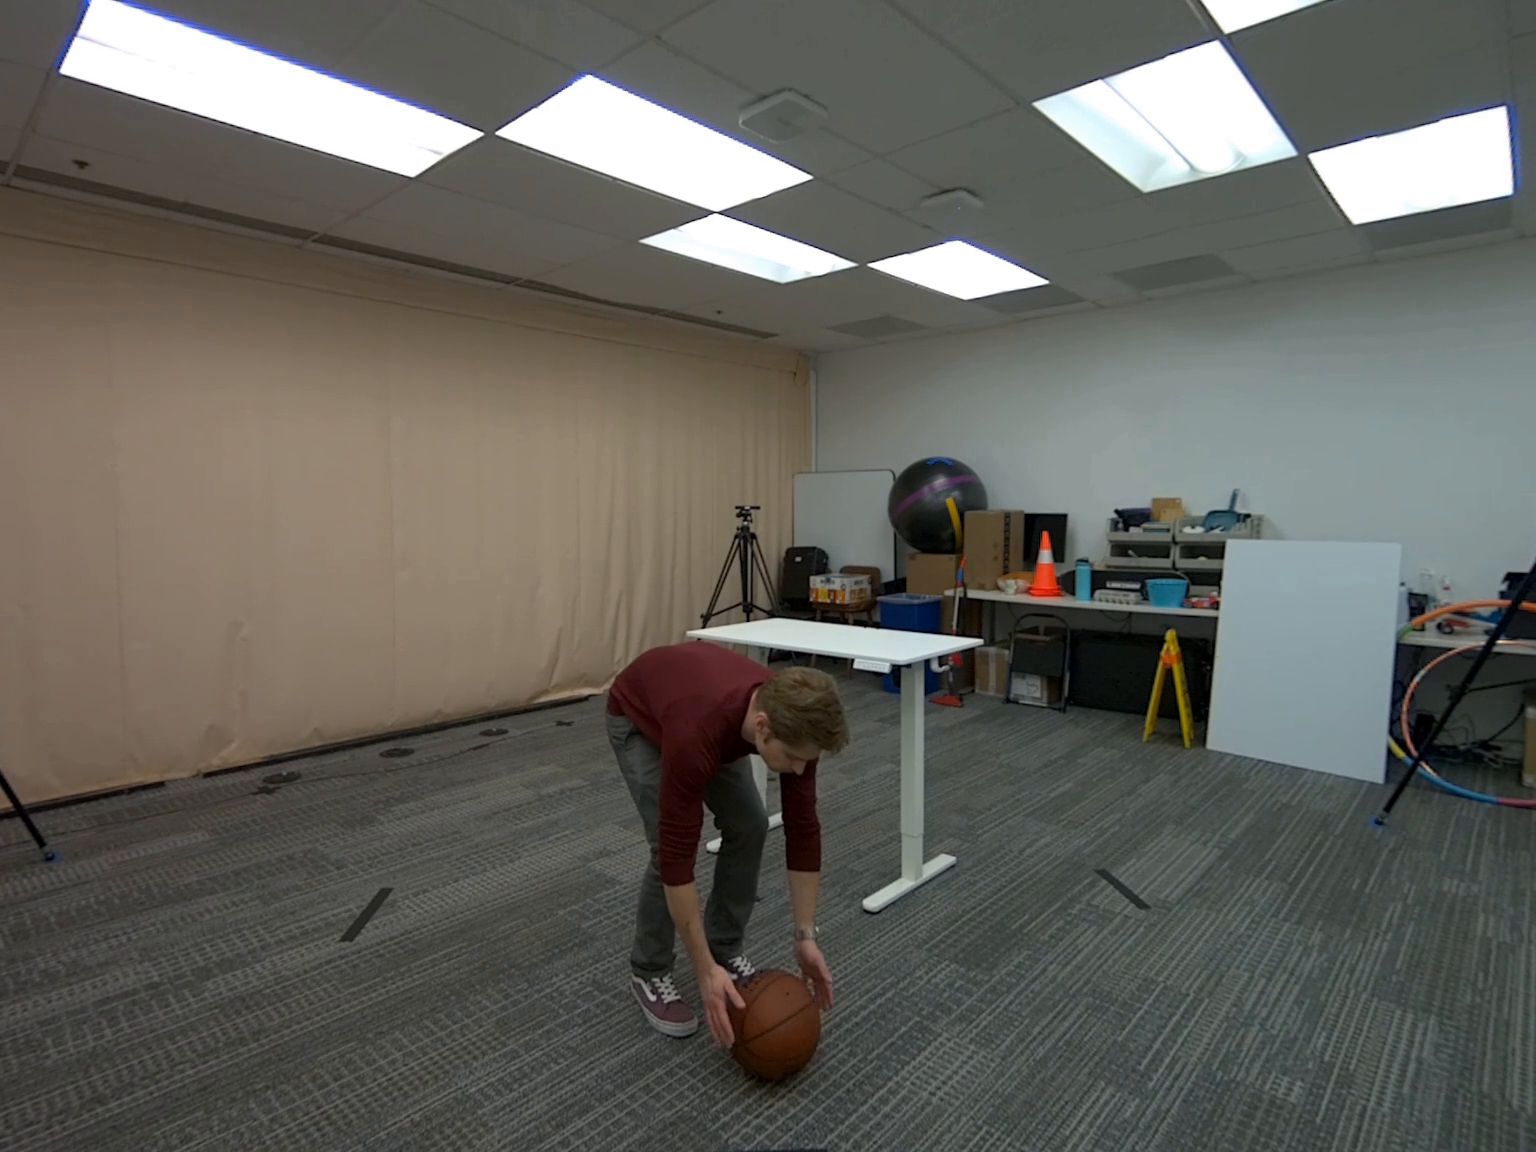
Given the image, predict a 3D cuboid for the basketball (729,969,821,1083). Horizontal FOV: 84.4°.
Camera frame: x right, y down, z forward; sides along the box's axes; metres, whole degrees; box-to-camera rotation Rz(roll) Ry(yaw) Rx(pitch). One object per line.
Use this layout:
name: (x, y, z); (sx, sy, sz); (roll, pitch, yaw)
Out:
basketball: (0.019, 1.096, 2.076); (0.236, 0.235, 0.237); (0, 4, -2)
